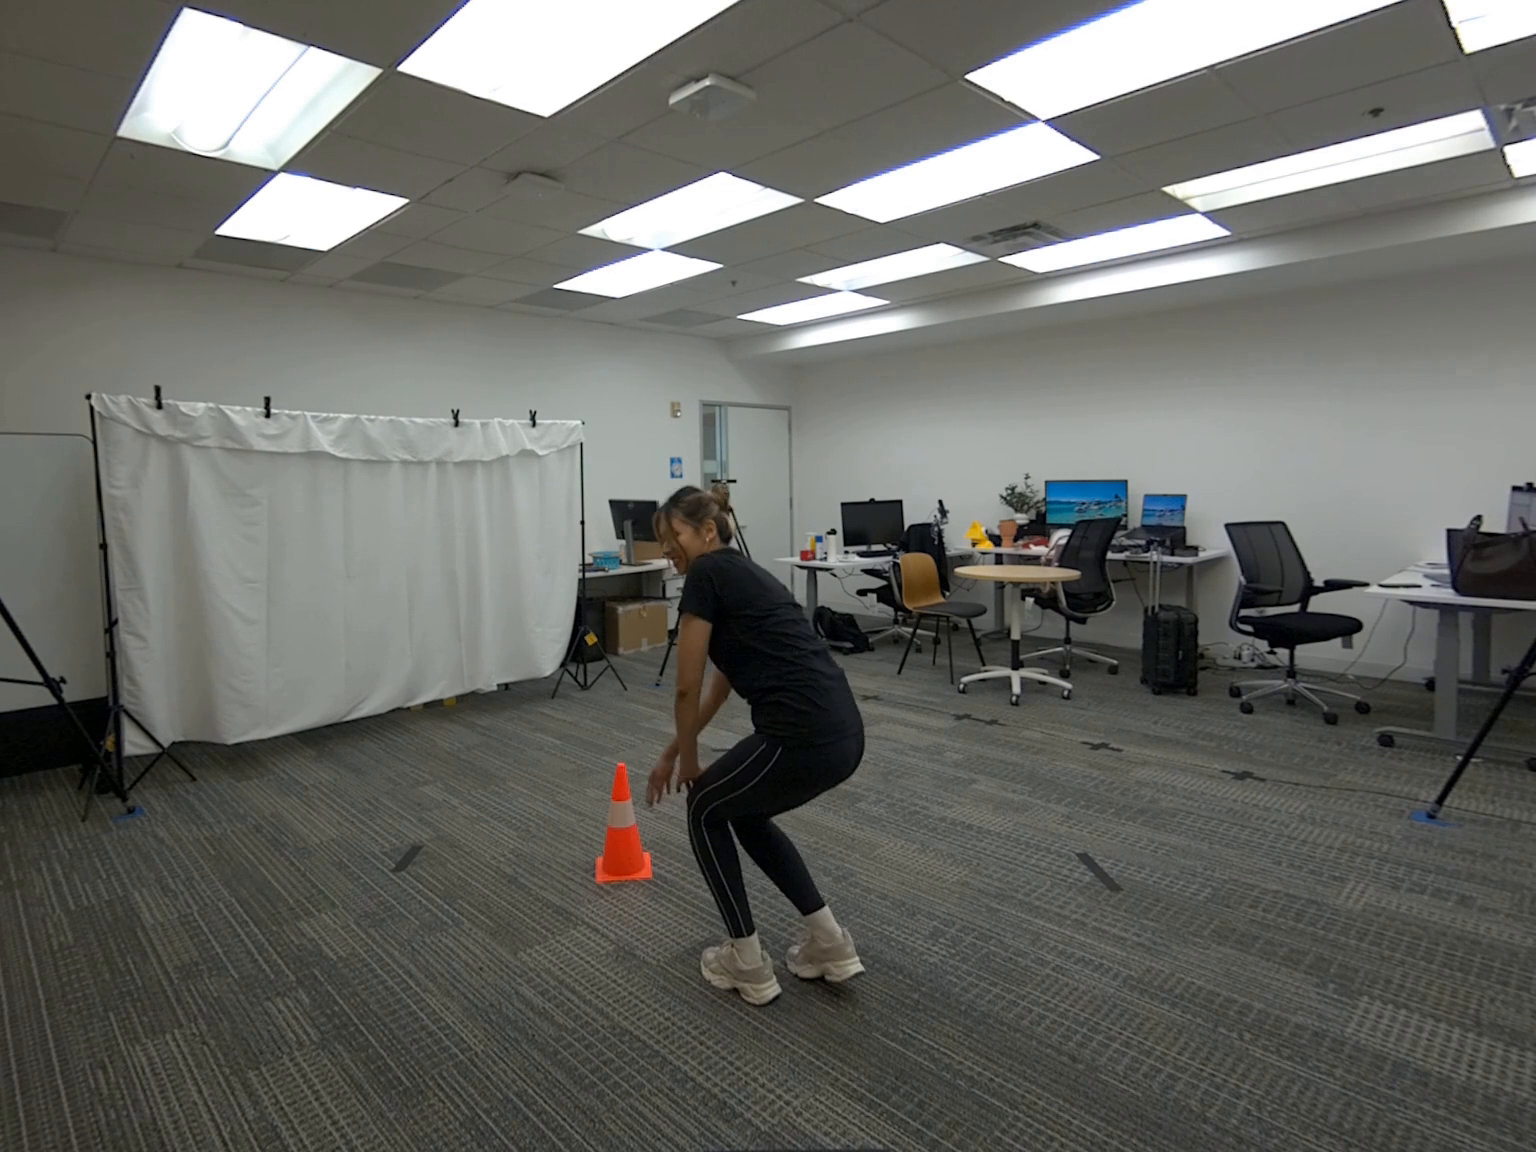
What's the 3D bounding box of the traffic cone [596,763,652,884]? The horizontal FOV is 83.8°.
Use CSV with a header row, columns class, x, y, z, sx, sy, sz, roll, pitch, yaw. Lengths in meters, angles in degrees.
class,x,y,z,sx,sy,sz,roll,pitch,yaw
traffic cone,-0.530,0.875,3.082,0.202,0.382,0.207,-4,5,-7
